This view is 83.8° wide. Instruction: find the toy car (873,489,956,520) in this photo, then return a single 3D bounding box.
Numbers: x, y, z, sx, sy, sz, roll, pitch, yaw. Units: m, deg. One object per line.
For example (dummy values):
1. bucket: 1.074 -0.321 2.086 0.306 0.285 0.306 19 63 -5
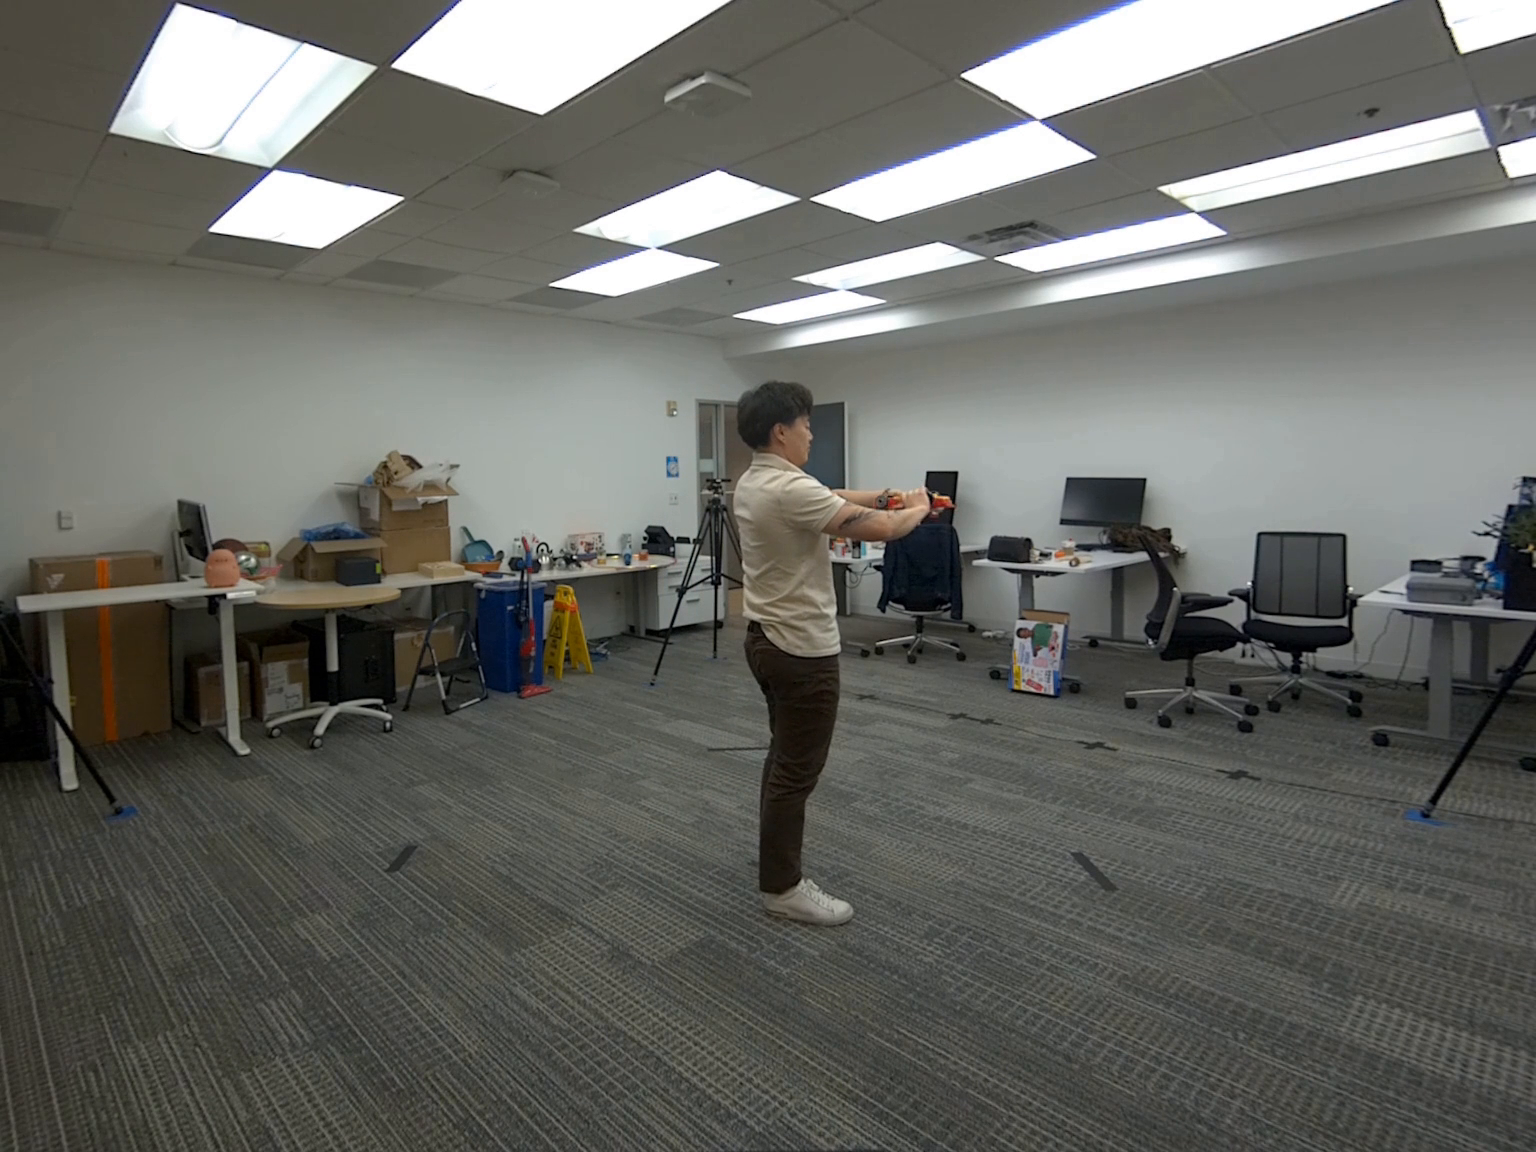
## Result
1. toy car: 0.478 -0.242 2.793 0.261 0.082 0.128 12 10 25
